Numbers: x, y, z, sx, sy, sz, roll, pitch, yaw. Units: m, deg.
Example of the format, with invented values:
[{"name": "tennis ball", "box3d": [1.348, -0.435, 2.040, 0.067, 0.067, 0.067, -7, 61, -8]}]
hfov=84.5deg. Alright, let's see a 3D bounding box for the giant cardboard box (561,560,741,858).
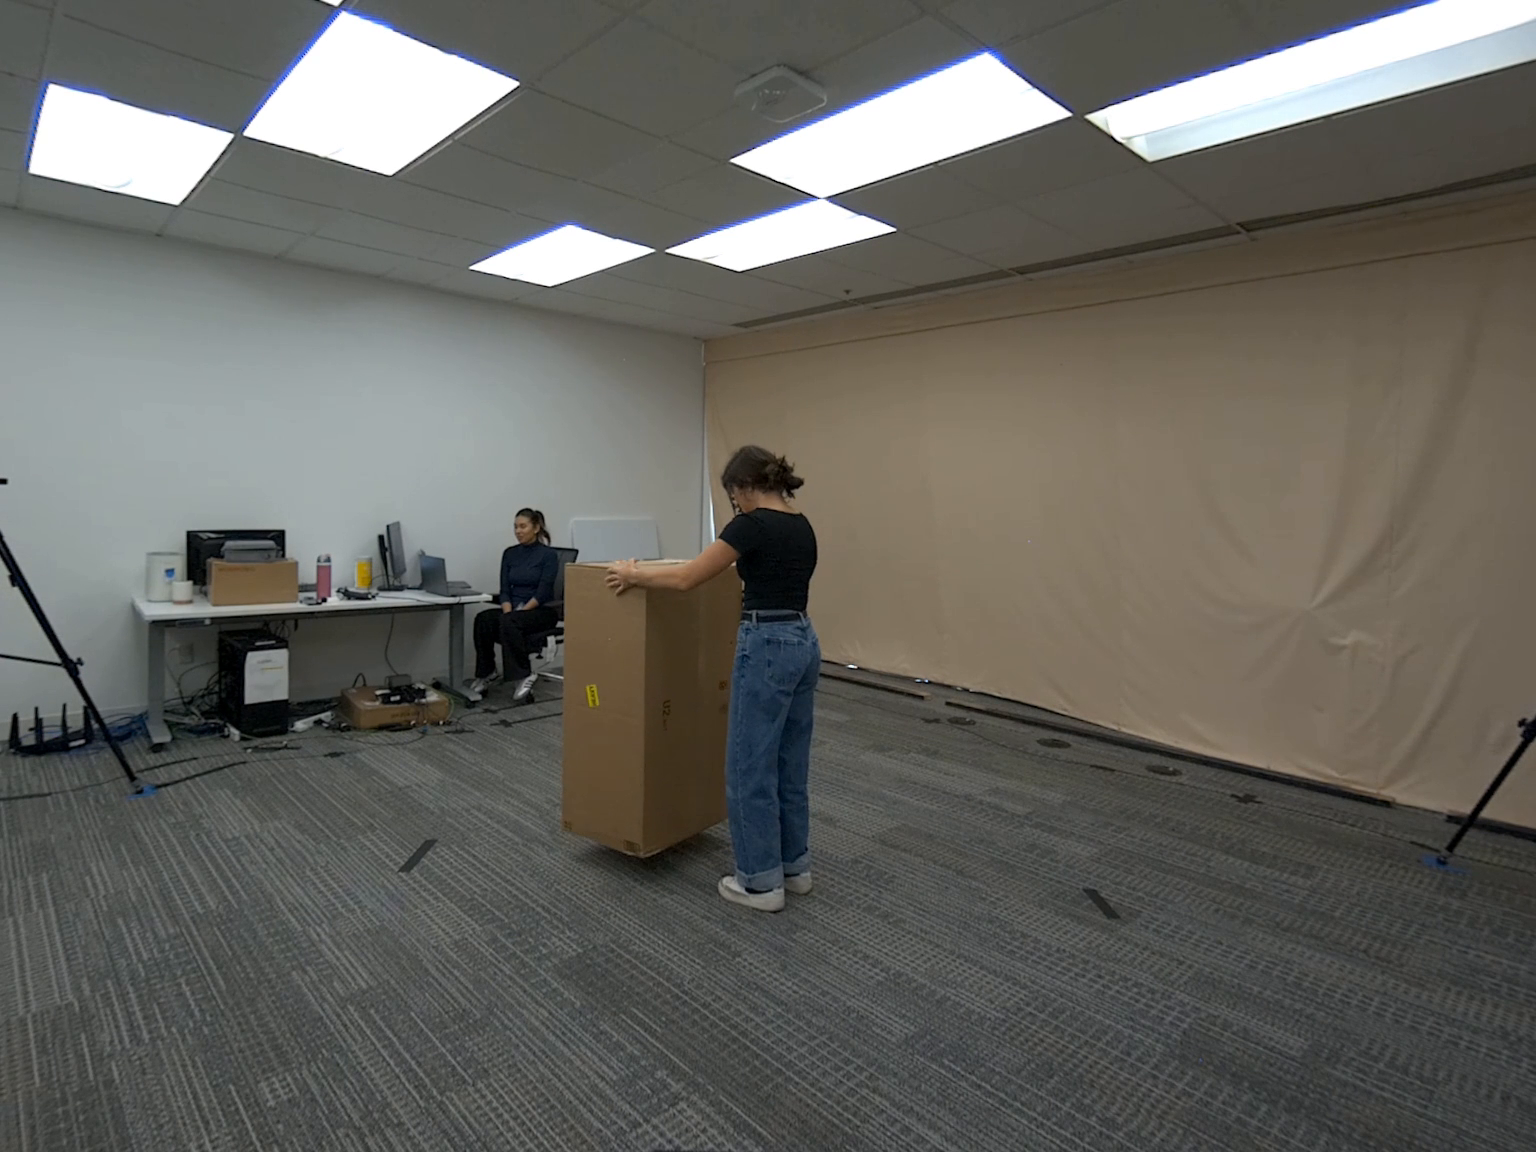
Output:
[{"name": "giant cardboard box", "box3d": [-0.452, 0.462, 3.298, 0.436, 1.023, 0.565, 4, 4, 36]}]
